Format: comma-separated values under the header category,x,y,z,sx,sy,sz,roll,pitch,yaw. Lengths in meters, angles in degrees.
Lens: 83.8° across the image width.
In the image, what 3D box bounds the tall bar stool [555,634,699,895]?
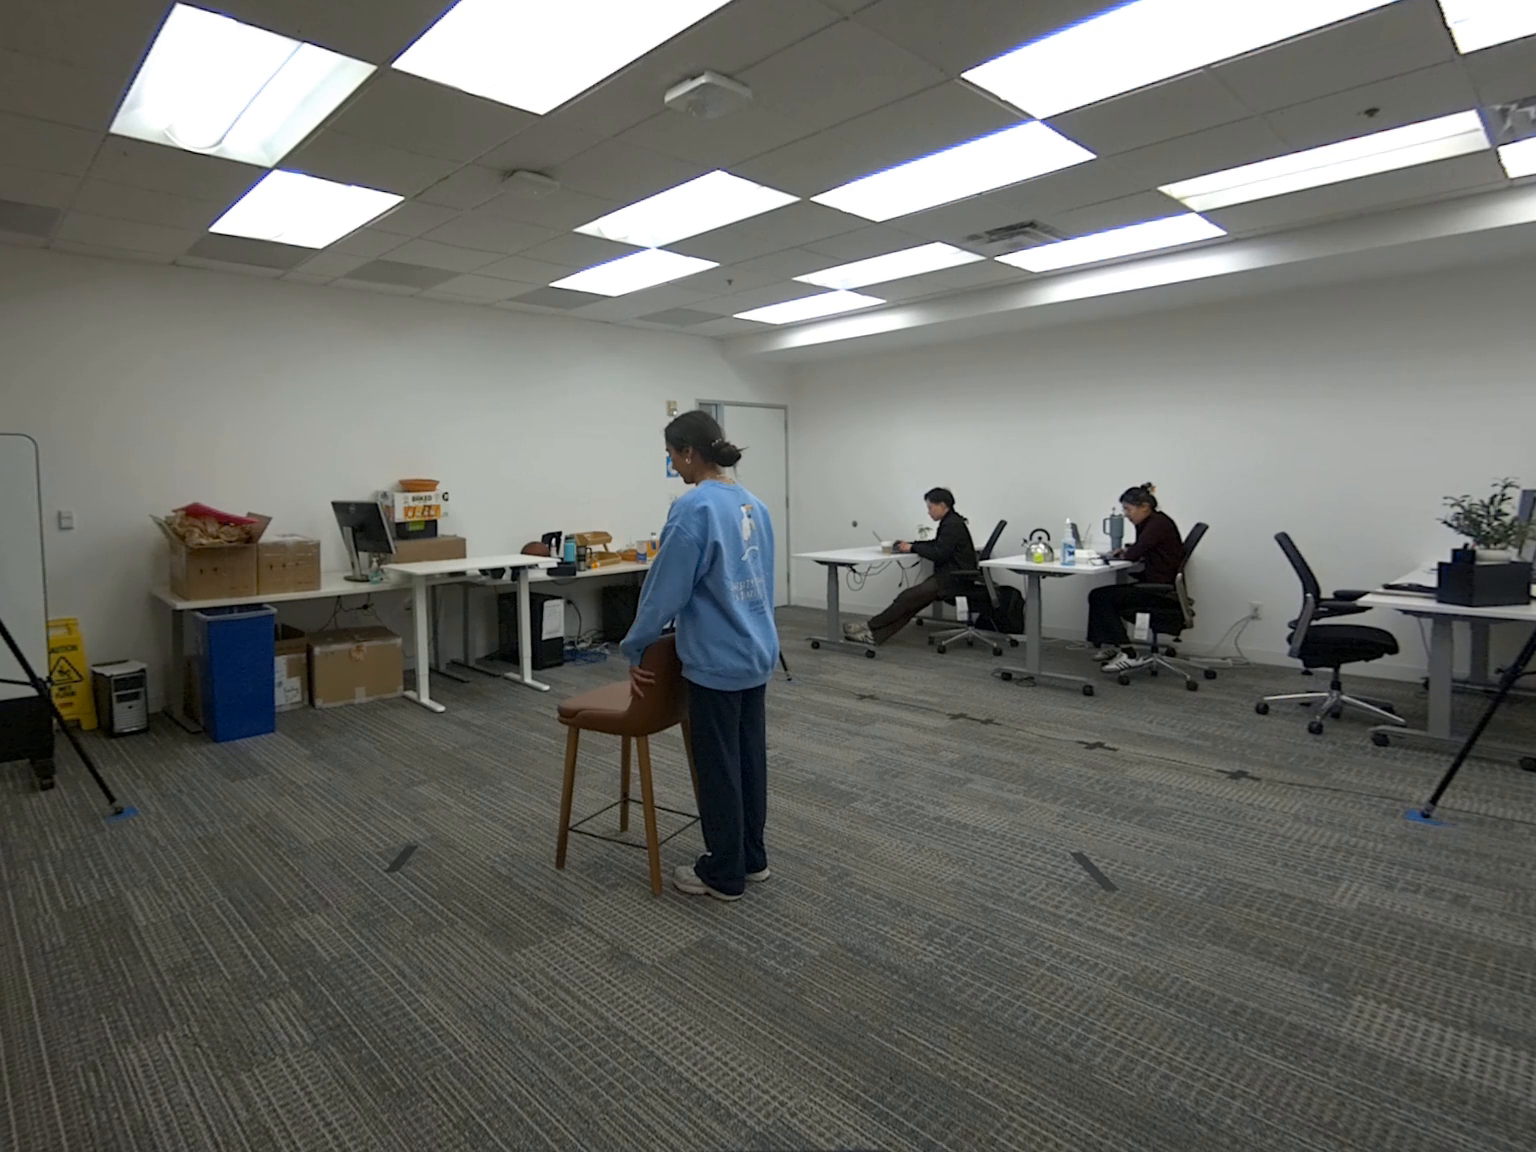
category,x,y,z,sx,sy,sz,roll,pitch,yaw
tall bar stool,-0.477,0.613,3.118,0.480,0.886,0.446,4,6,30
